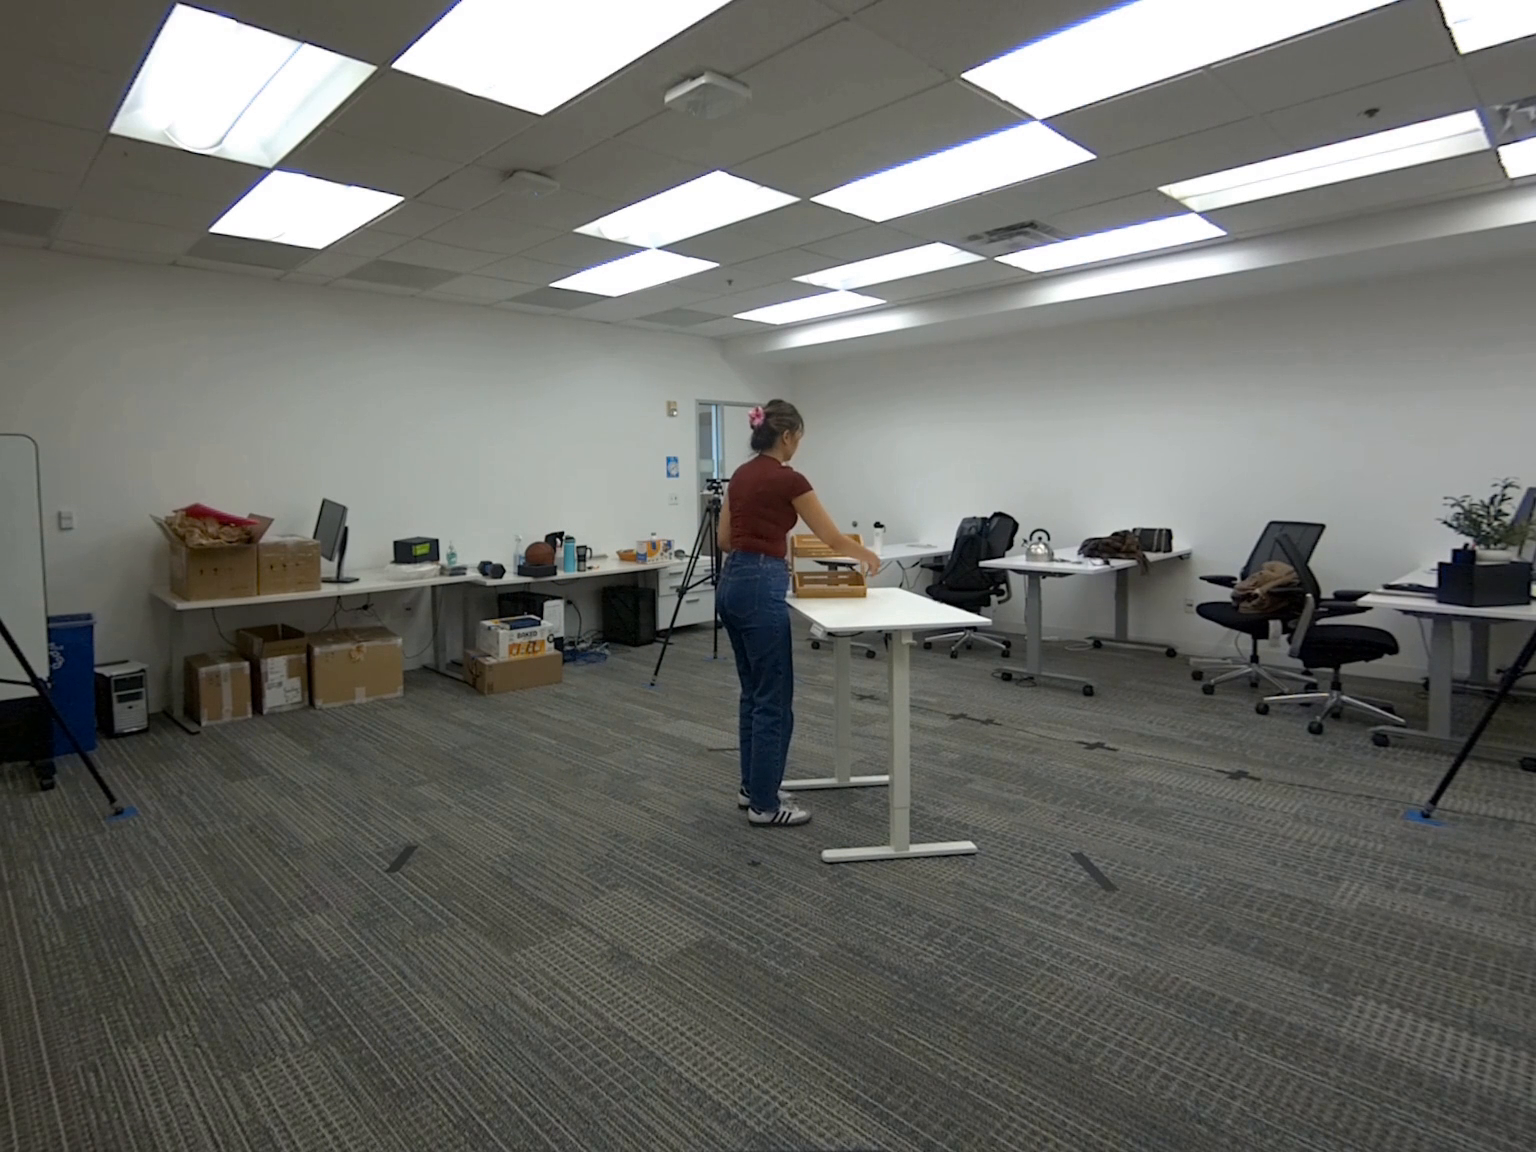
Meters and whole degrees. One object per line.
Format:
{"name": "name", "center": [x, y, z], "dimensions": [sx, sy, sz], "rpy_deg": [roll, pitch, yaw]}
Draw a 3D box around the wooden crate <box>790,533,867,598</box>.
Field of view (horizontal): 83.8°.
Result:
{"name": "wooden crate", "center": [0.268, -0.050, 3.800], "dimensions": [0.324, 0.272, 0.303], "rpy_deg": [0, 5, 0]}
